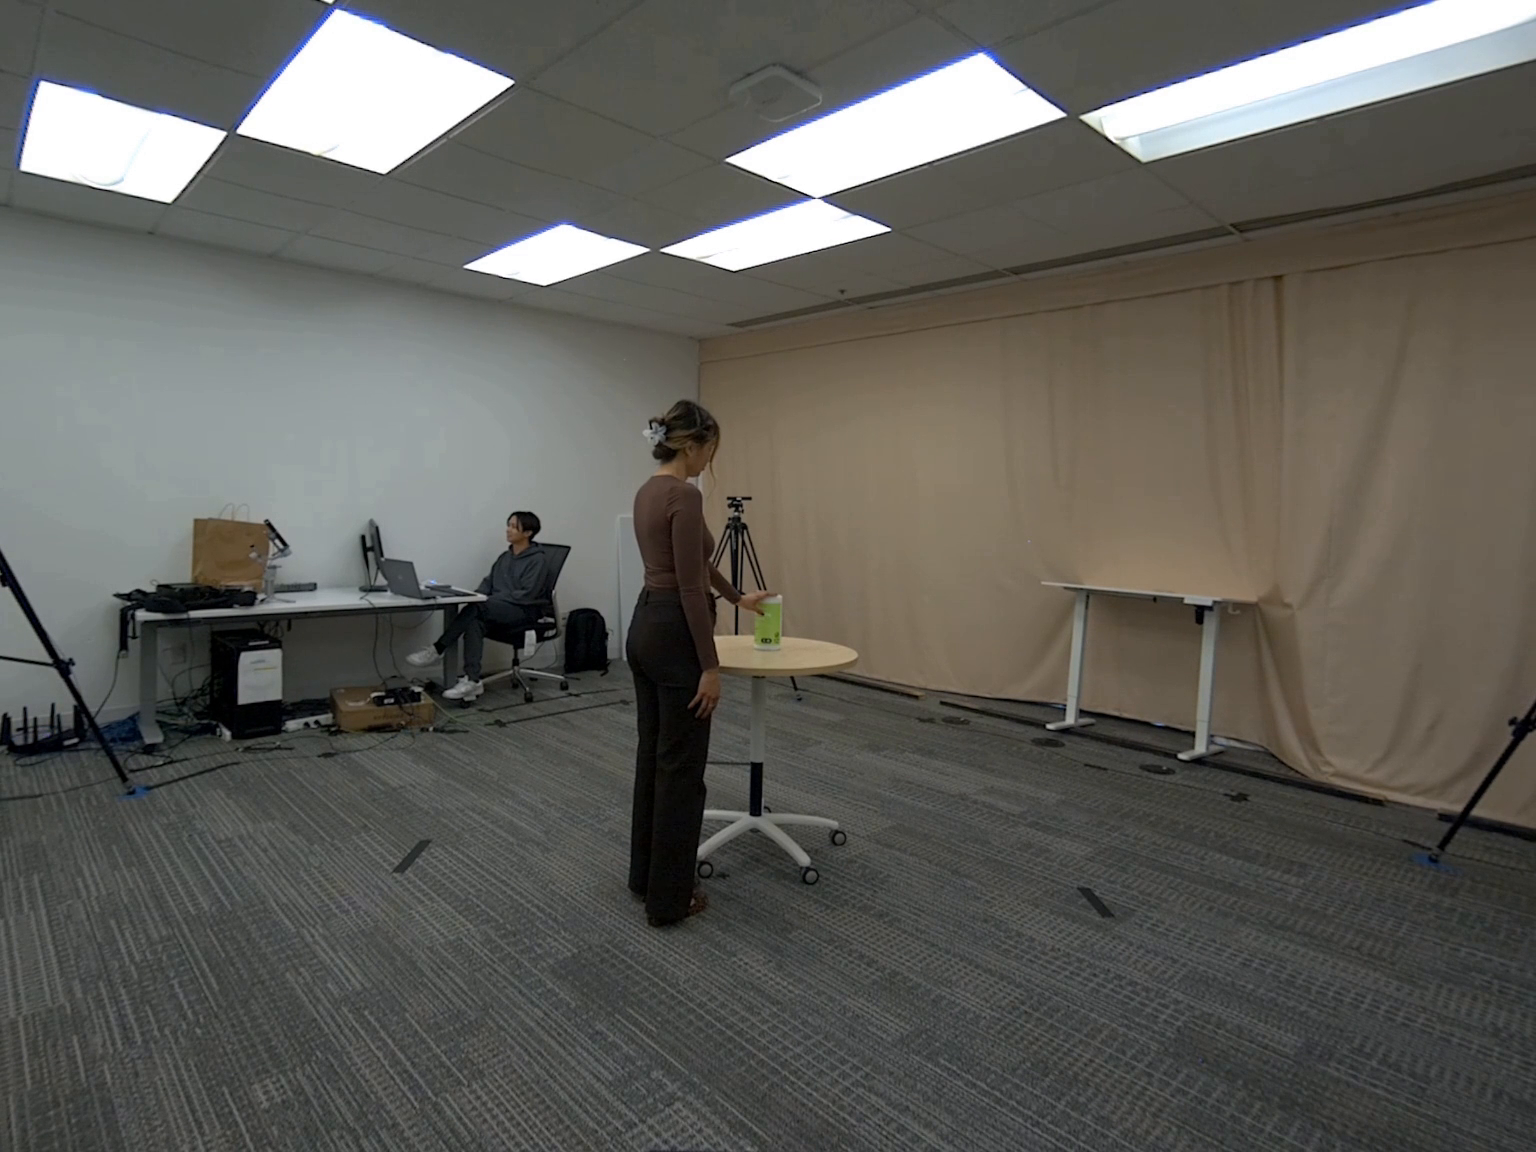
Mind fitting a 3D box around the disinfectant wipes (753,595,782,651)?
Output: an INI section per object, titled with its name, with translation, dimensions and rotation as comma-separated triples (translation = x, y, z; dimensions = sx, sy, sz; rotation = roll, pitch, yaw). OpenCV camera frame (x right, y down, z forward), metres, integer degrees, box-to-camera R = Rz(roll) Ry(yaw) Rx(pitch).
[disinfectant wipes]
translation = -0.009, 0.184, 3.353
dimensions = 0.118, 0.217, 0.118
rotation = 0, 5, -1
